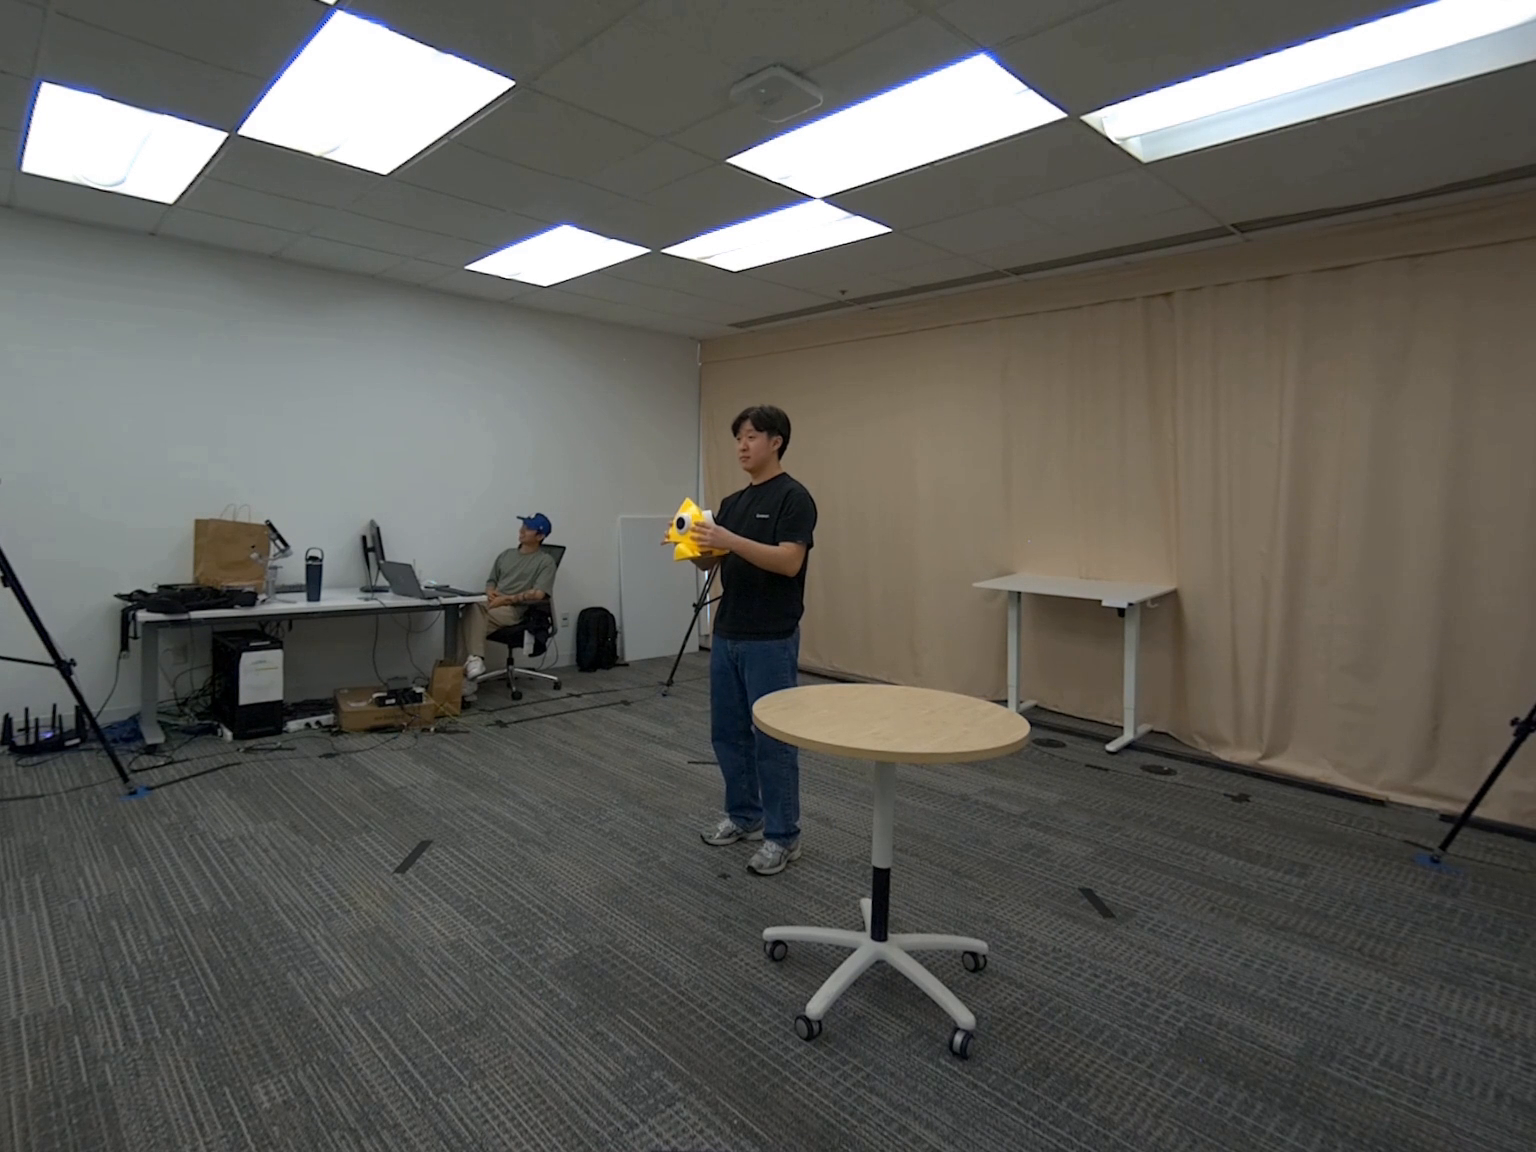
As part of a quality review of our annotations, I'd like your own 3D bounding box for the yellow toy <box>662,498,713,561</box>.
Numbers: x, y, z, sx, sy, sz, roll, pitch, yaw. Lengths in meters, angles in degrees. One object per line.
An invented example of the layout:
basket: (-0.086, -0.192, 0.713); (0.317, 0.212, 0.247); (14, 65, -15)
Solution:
yellow toy: (-0.274, -0.183, 3.085); (0.202, 0.231, 0.195); (-7, -2, -22)
